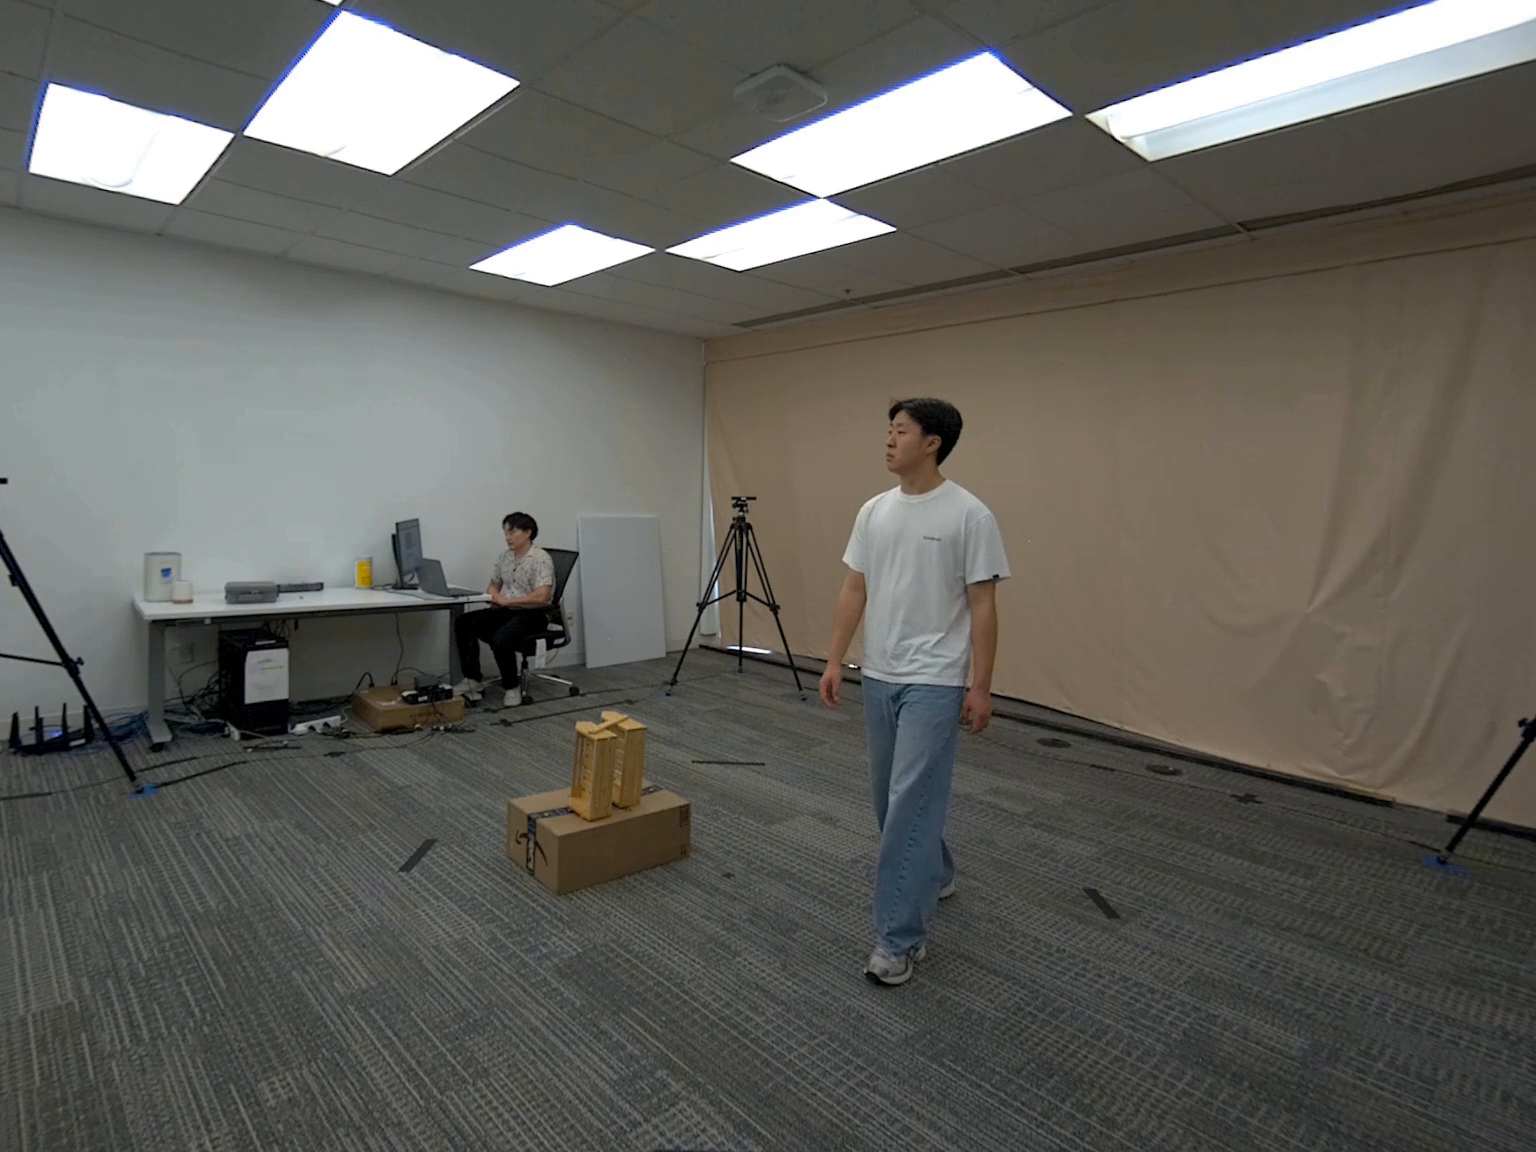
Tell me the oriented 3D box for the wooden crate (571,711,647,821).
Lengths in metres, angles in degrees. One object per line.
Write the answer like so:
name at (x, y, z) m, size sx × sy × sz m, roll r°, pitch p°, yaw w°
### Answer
wooden crate at (-0.649, 0.711, 3.217) m, size 0.266 × 0.323 × 0.310 m, roll 2°, pitch 6°, yaw -42°
